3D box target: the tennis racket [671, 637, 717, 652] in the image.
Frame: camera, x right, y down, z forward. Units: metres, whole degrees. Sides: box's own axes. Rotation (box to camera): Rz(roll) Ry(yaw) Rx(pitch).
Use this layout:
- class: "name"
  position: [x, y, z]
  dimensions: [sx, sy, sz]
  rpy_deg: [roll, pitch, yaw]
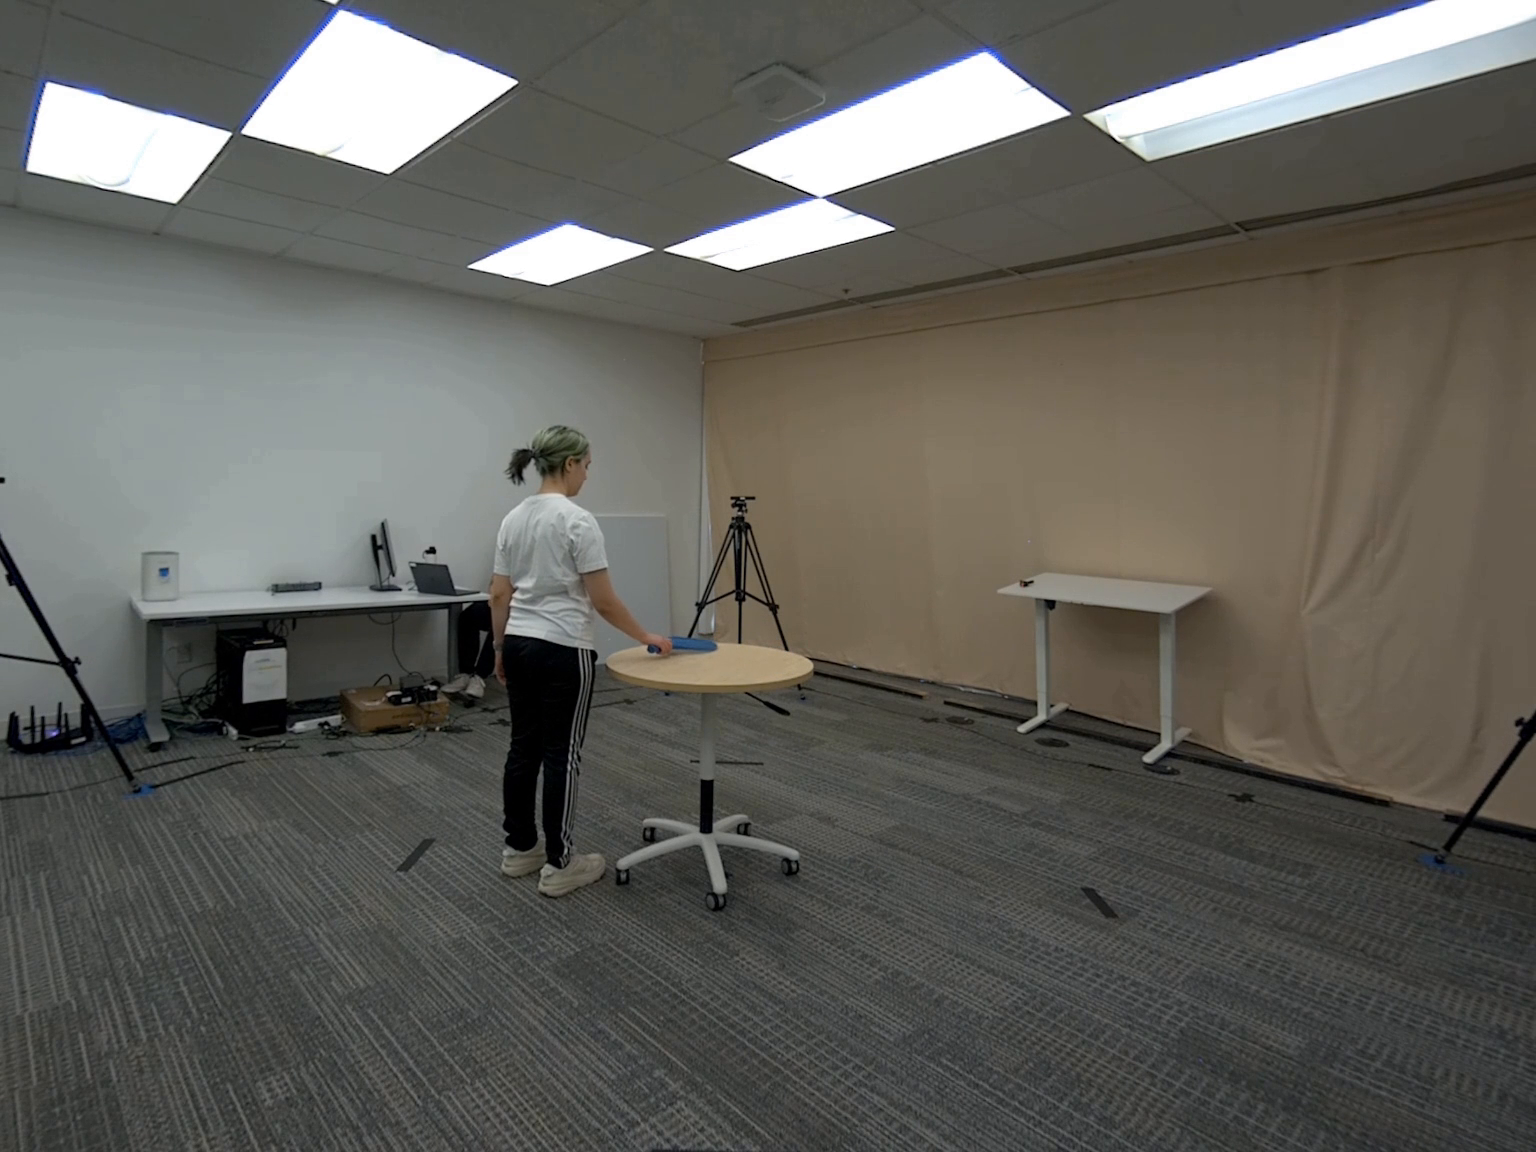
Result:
- class: "tennis racket"
  position: [-0.356, 0.273, 3.292]
  dimensions: [0.219, 0.032, 0.424]
  rpy_deg: [10, 5, 29]
